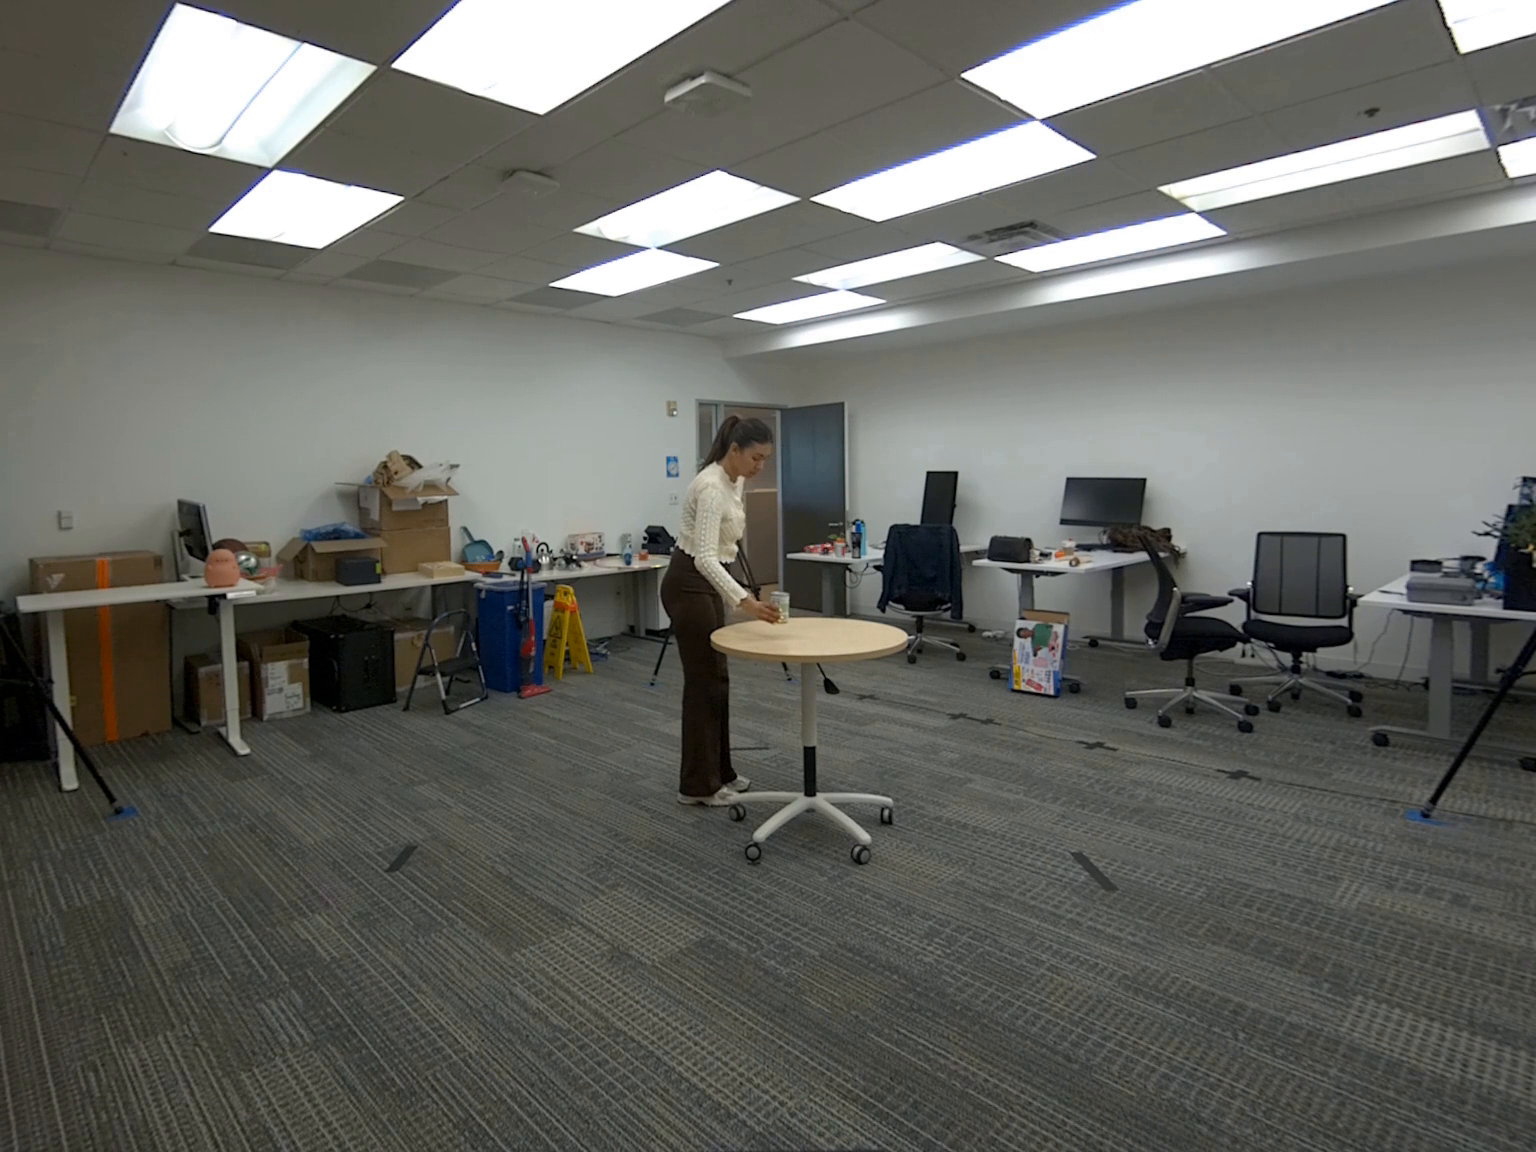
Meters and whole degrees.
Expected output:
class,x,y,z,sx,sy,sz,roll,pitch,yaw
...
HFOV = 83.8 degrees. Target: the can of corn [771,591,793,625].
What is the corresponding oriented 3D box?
class,x,y,z,sx,sy,sz,roll,pitch,yaw
can of corn,0.049,0.120,3.260,0.074,0.110,0.075,3,6,-2
